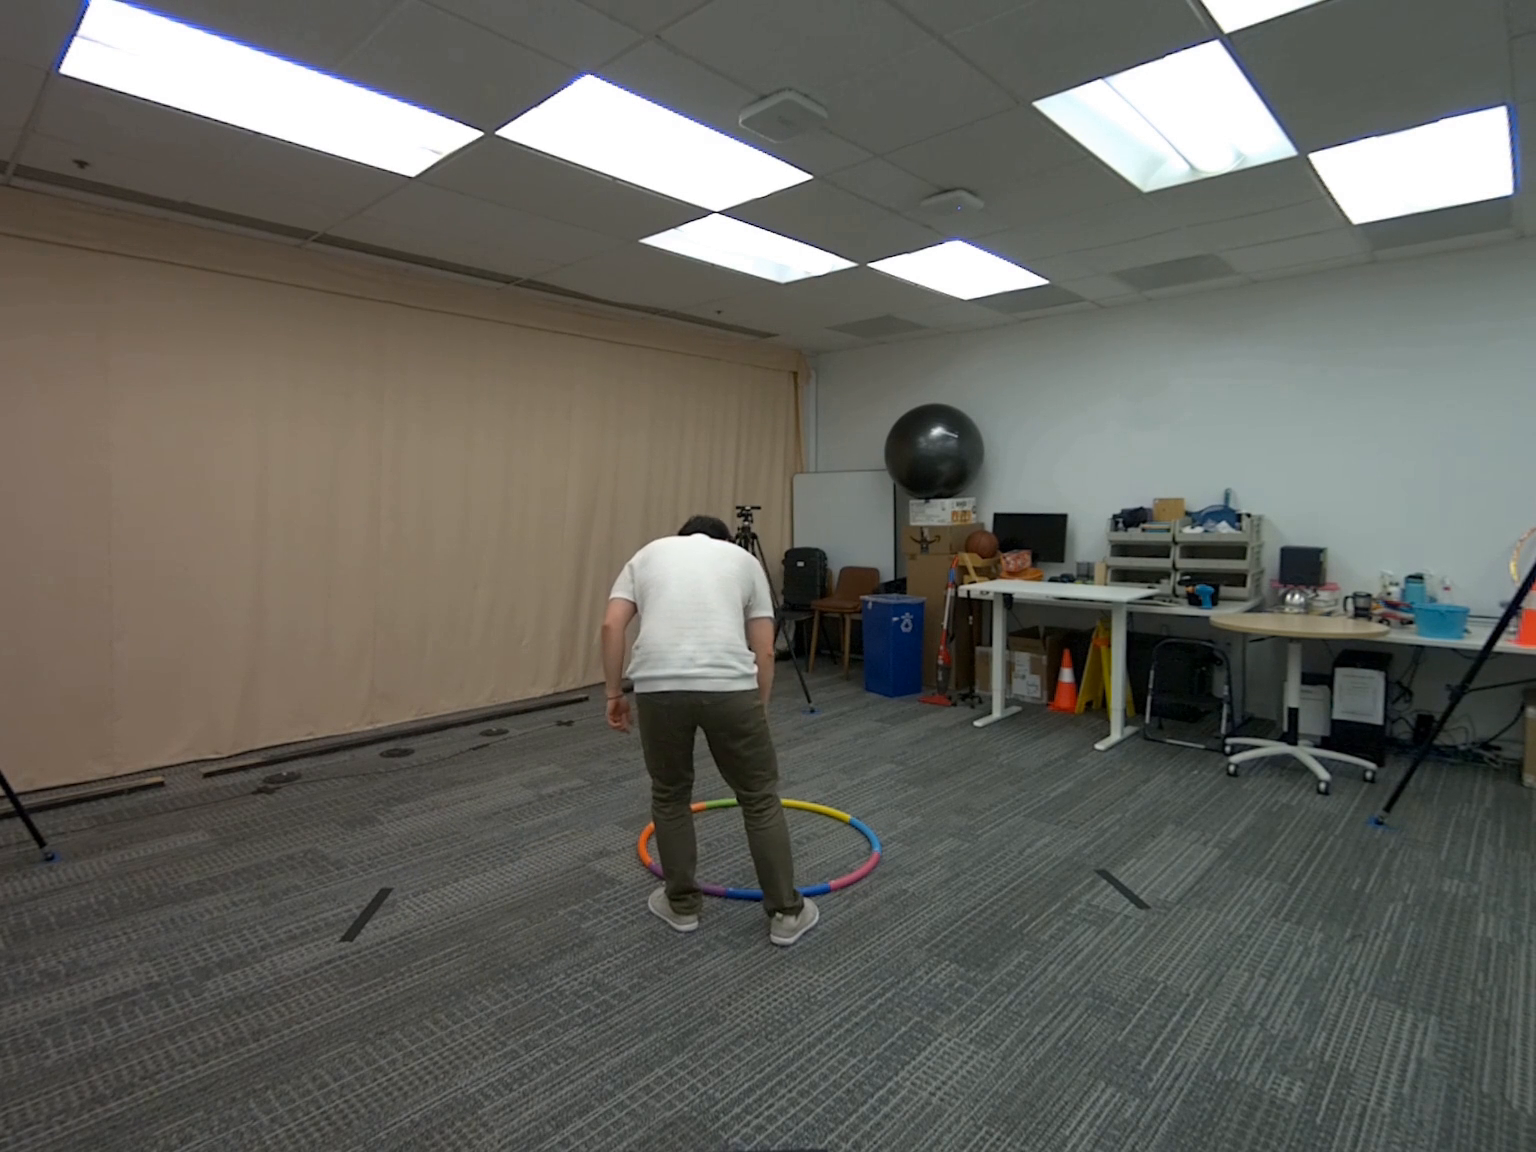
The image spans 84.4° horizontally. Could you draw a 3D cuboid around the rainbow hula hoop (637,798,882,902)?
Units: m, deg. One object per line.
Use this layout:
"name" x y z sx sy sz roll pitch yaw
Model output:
"rainbow hula hoop" -0.040 1.075 3.447 0.978 0.035 0.982 0 5 -2
